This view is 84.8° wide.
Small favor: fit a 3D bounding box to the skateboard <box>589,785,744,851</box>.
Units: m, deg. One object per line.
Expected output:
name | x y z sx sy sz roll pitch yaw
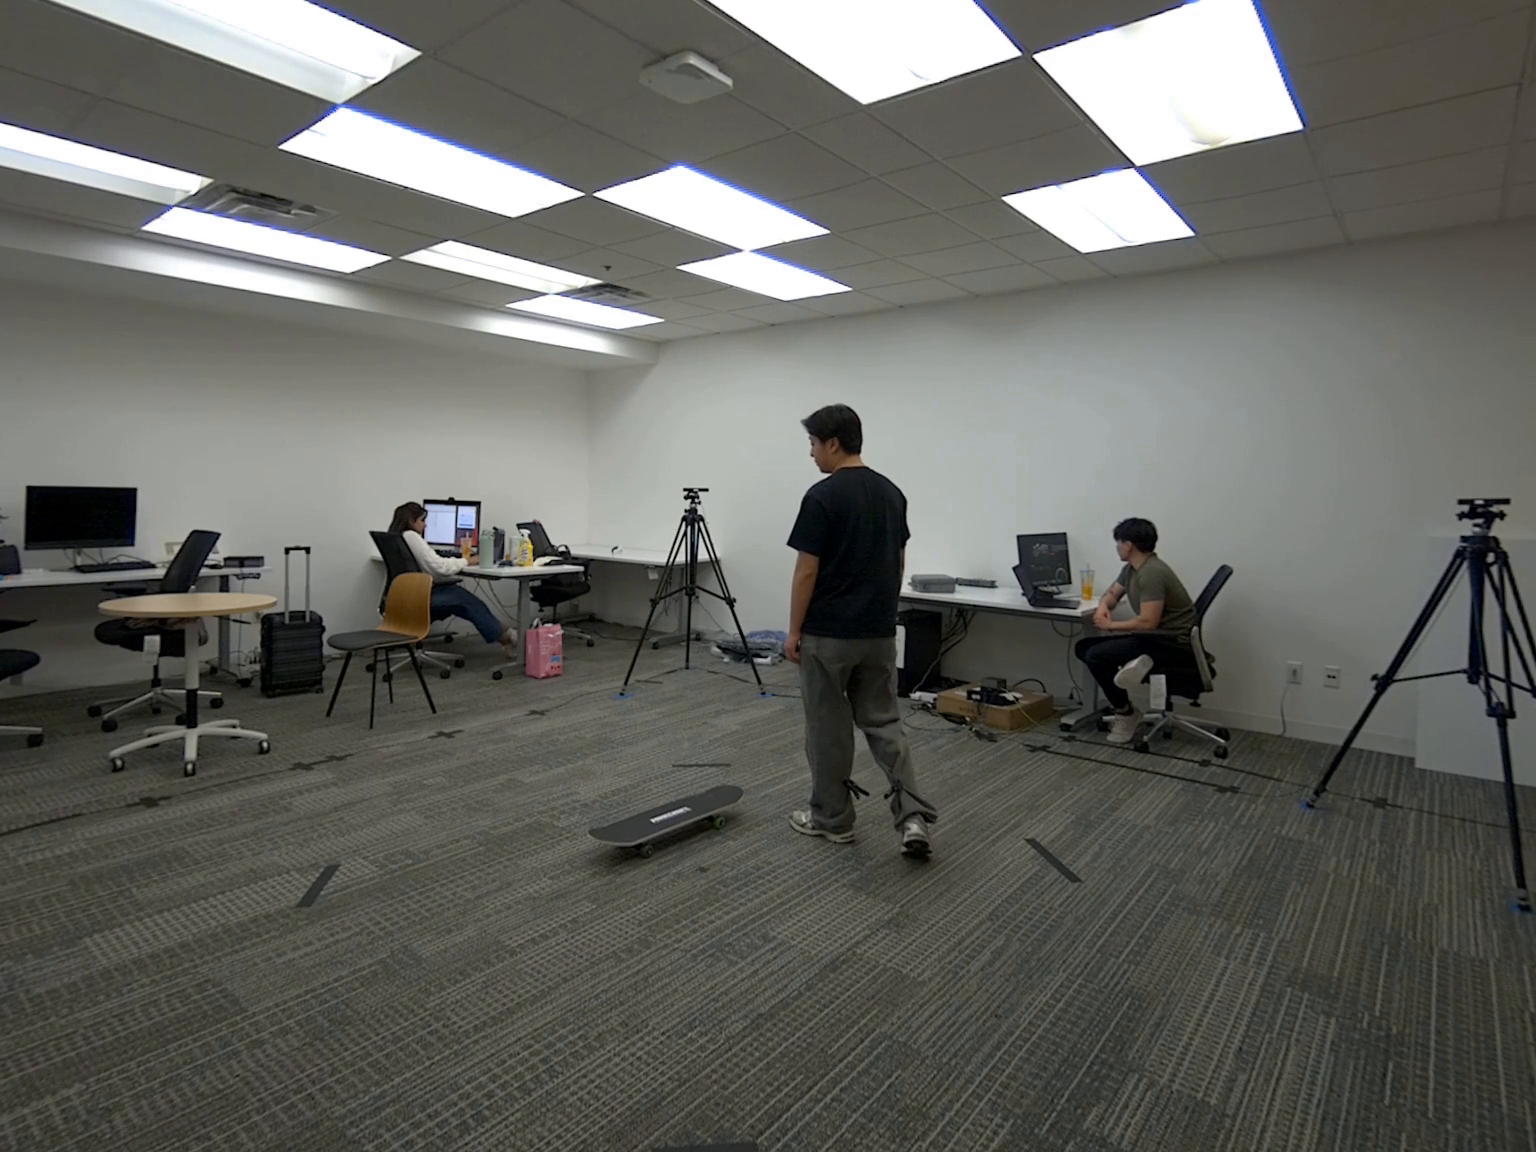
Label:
skateboard | -0.392 0.983 3.397 0.200 0.110 0.762 6 8 42
